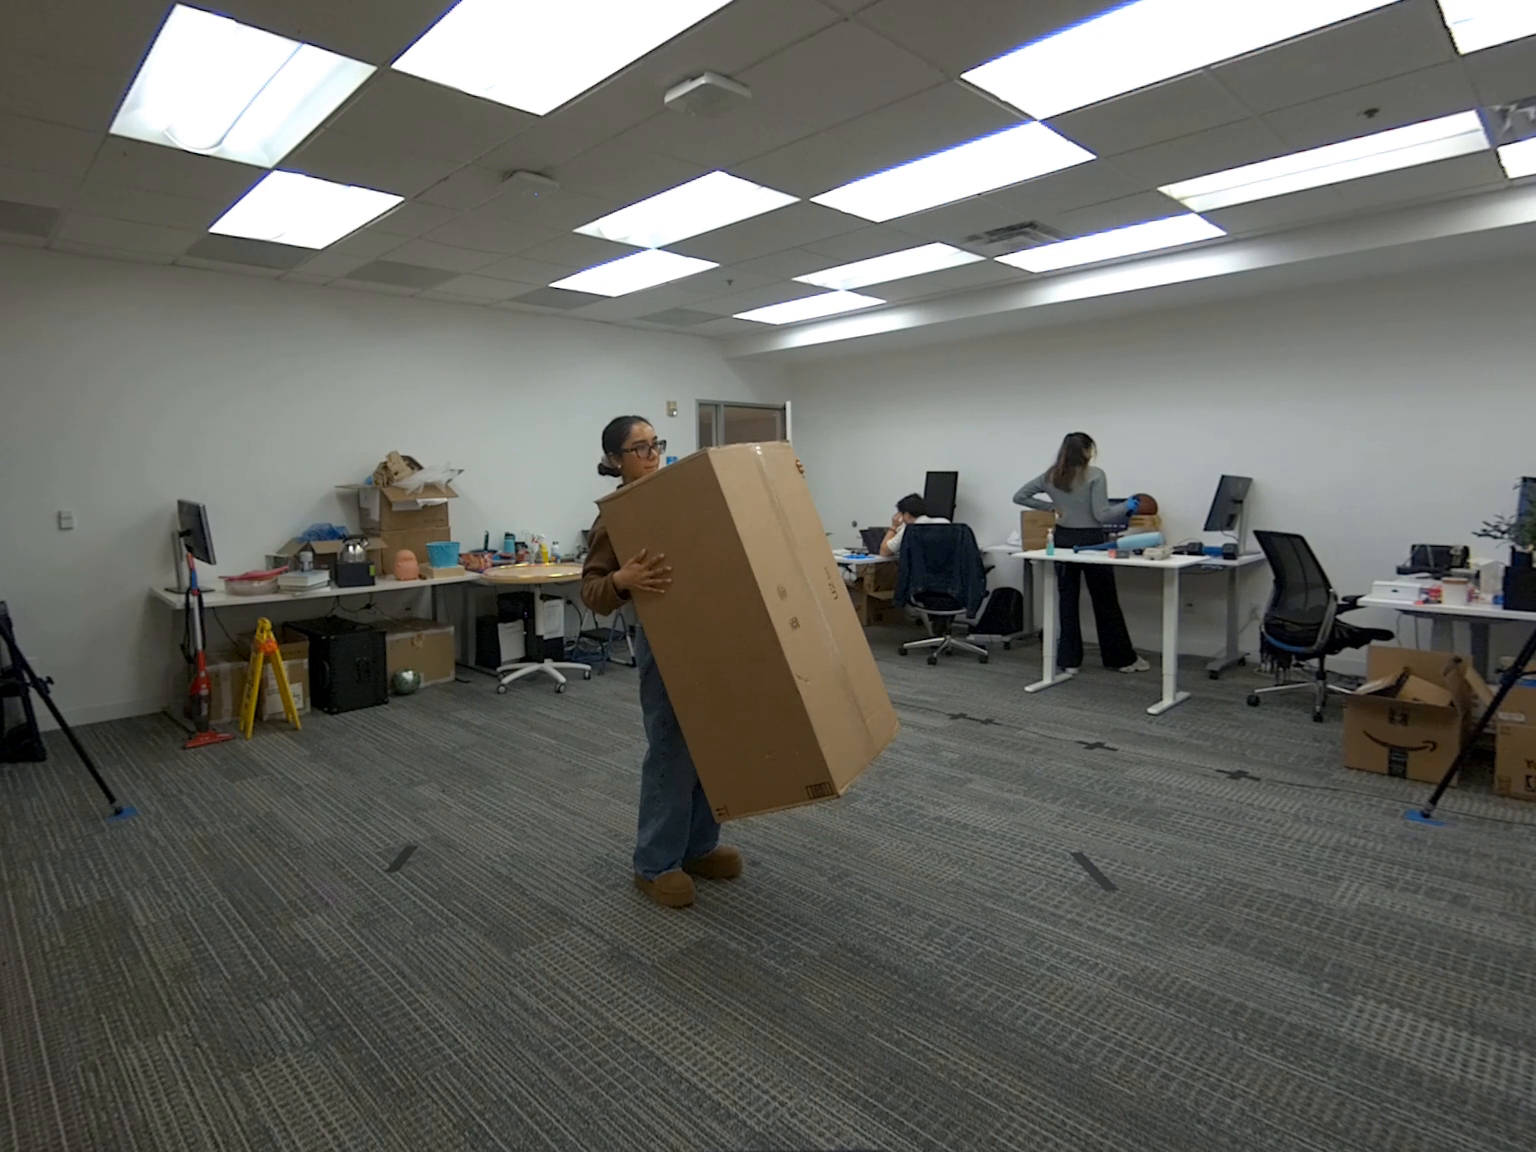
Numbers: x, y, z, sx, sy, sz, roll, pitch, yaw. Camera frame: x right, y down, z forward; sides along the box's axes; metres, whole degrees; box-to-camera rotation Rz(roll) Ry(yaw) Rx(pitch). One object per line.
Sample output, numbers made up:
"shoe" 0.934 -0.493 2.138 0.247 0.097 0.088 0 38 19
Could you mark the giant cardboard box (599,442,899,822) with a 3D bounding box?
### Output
"giant cardboard box" -0.036 0.140 2.676 0.432 1.029 0.568 -22 -2 28
